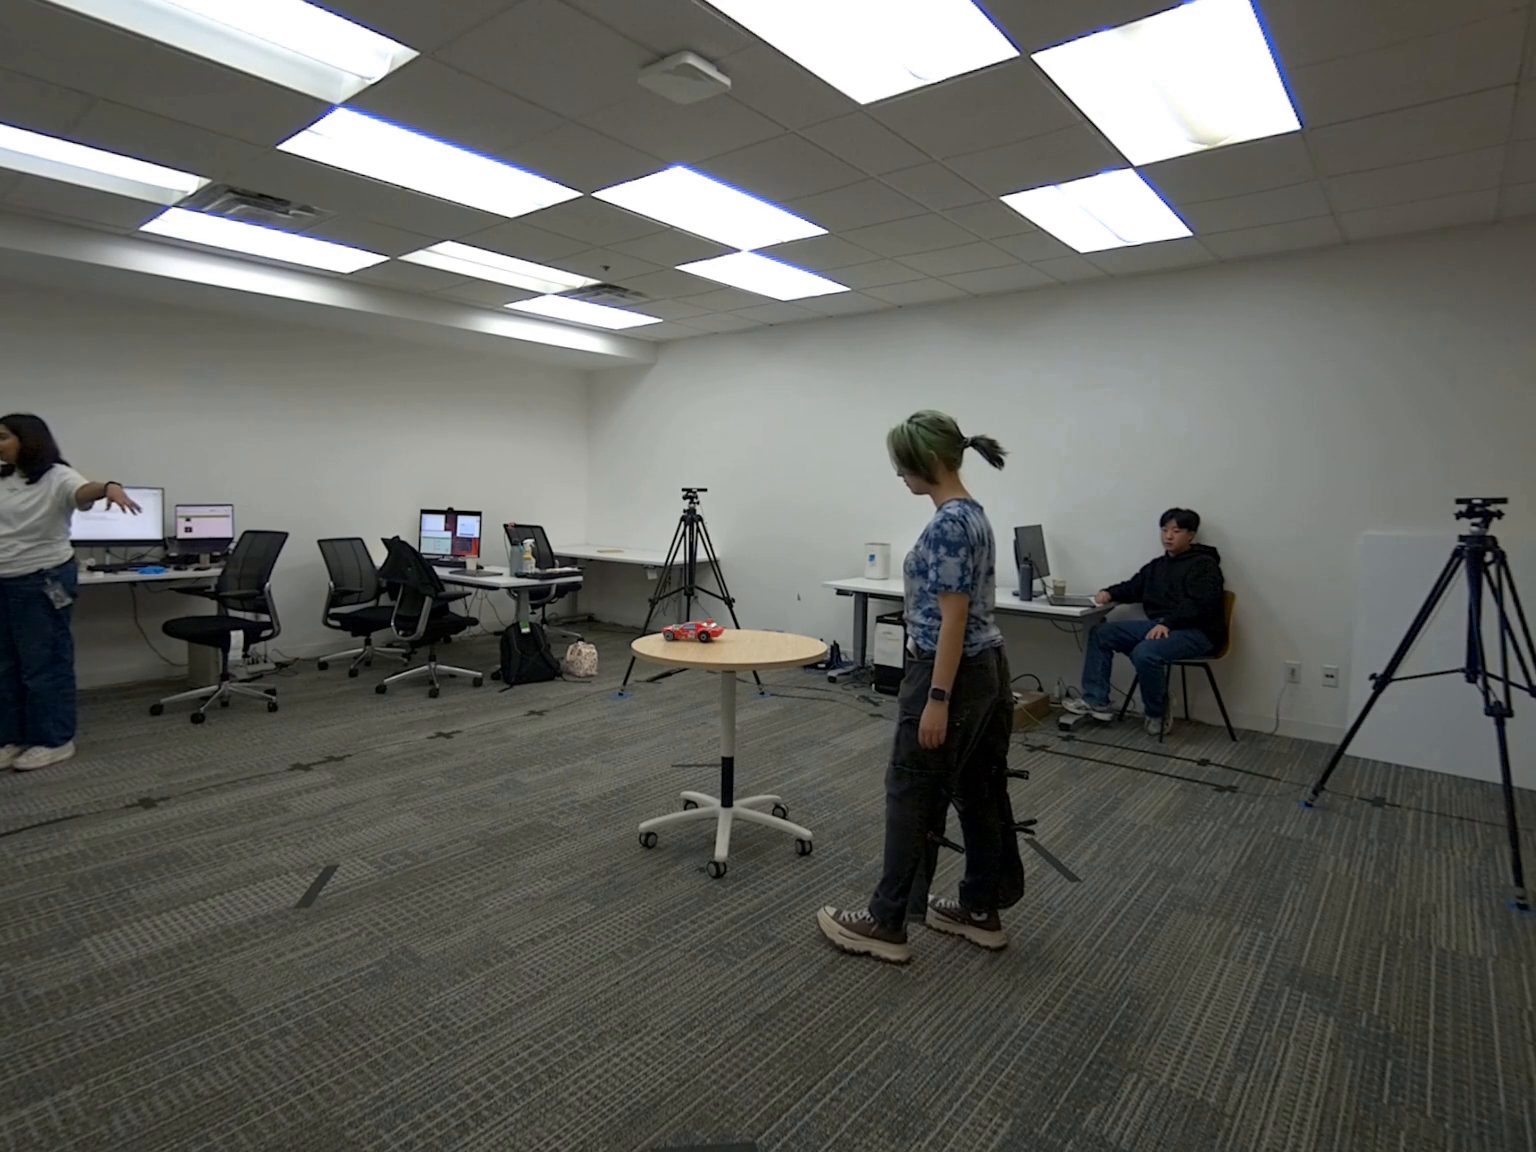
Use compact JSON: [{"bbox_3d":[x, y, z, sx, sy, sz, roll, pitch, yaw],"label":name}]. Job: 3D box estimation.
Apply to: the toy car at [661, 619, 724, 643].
[{"bbox_3d":[-0.306,0.224,3.428,0.257,0.083,0.129,-10,3,13],"label":"toy car"}]
